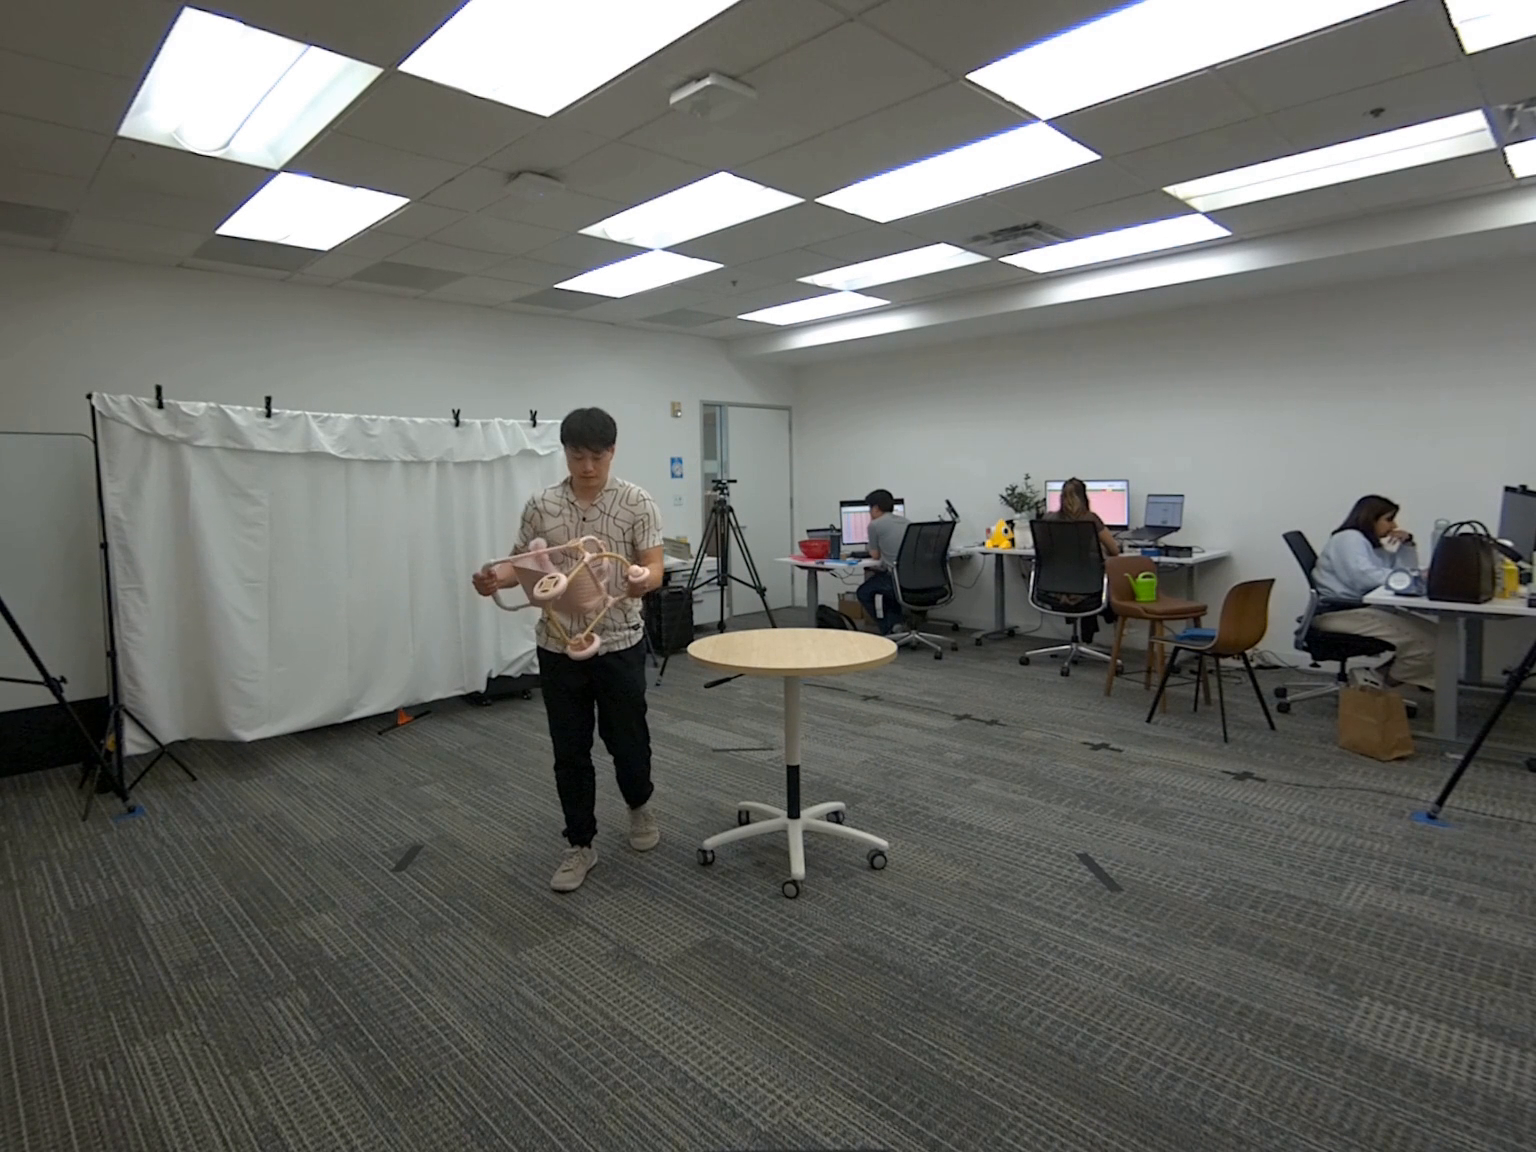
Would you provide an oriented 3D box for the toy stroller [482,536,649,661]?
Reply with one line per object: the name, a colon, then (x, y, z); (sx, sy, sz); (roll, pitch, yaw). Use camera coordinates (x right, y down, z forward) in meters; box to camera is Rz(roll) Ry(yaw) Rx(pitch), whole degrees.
toy stroller: (-0.644, 0.017, 2.748); (0.555, 0.271, 0.341); (22, 58, 44)
